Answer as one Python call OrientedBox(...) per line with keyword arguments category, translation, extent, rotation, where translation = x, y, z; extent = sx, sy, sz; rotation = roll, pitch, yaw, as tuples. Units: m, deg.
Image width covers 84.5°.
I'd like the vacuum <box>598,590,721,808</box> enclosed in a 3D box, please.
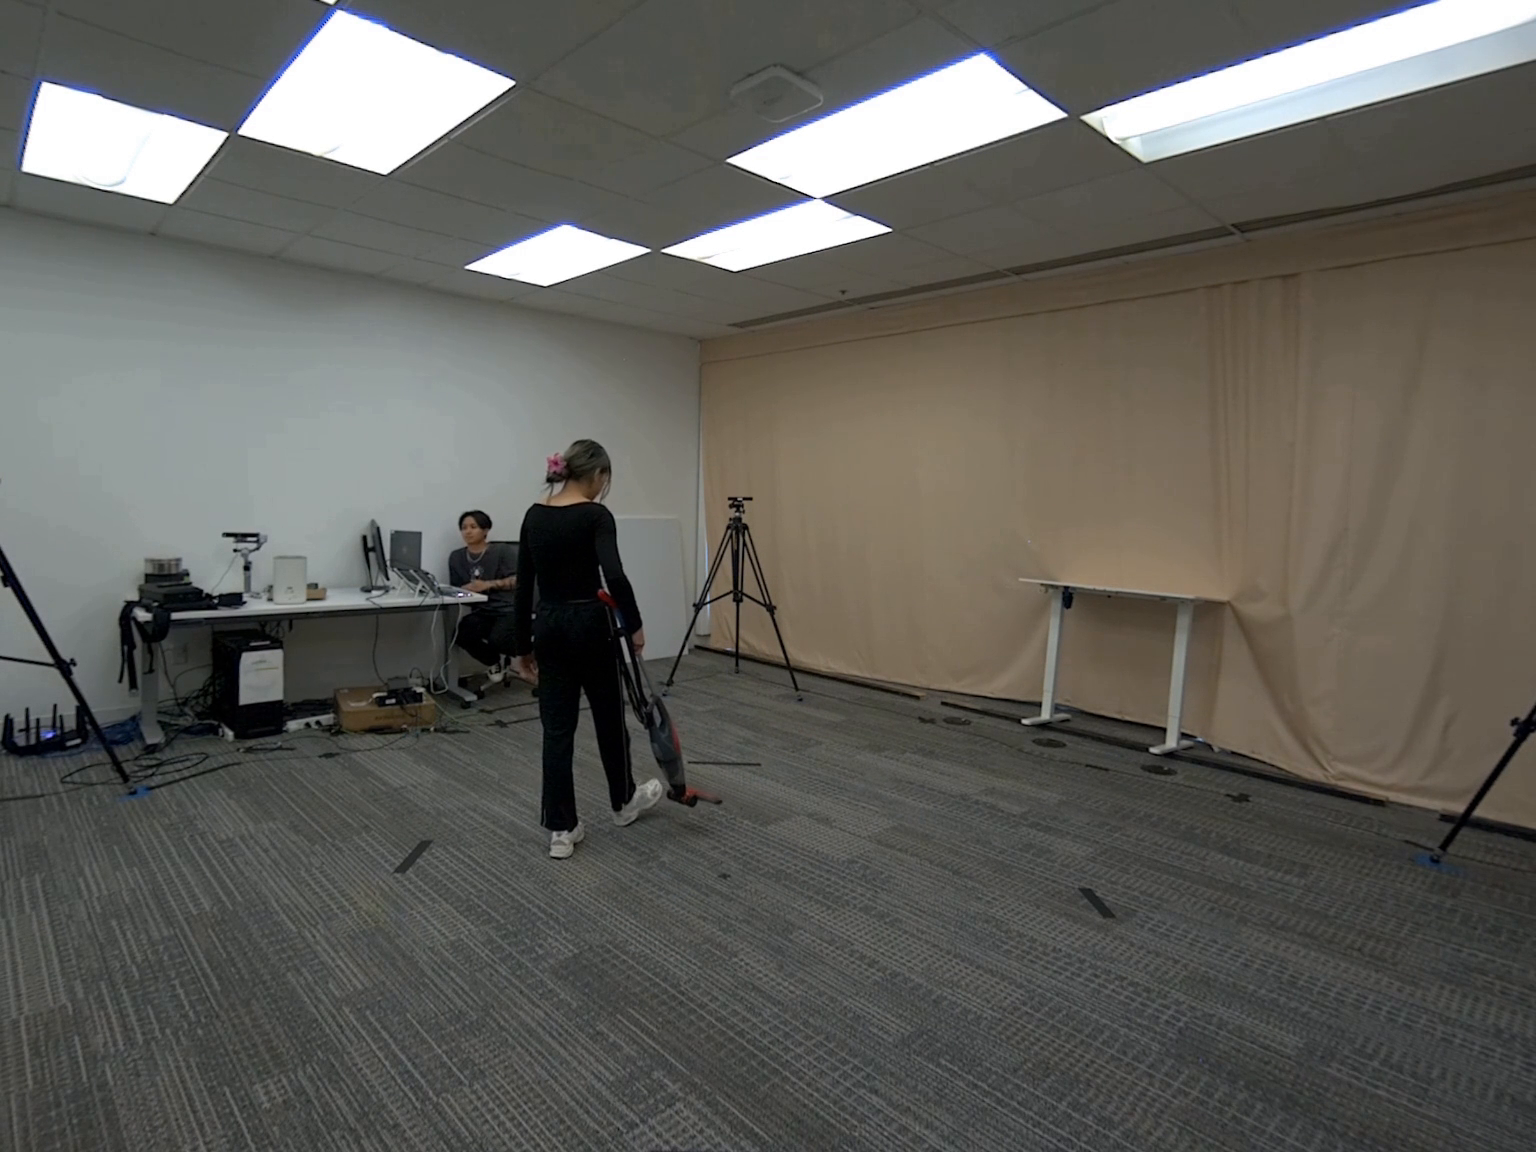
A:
OrientedBox(category="vacuum", translation=(-0.477, 0.500, 3.344), extent=(0.143, 1.026, 0.259), rotation=(-35, 29, -31))
